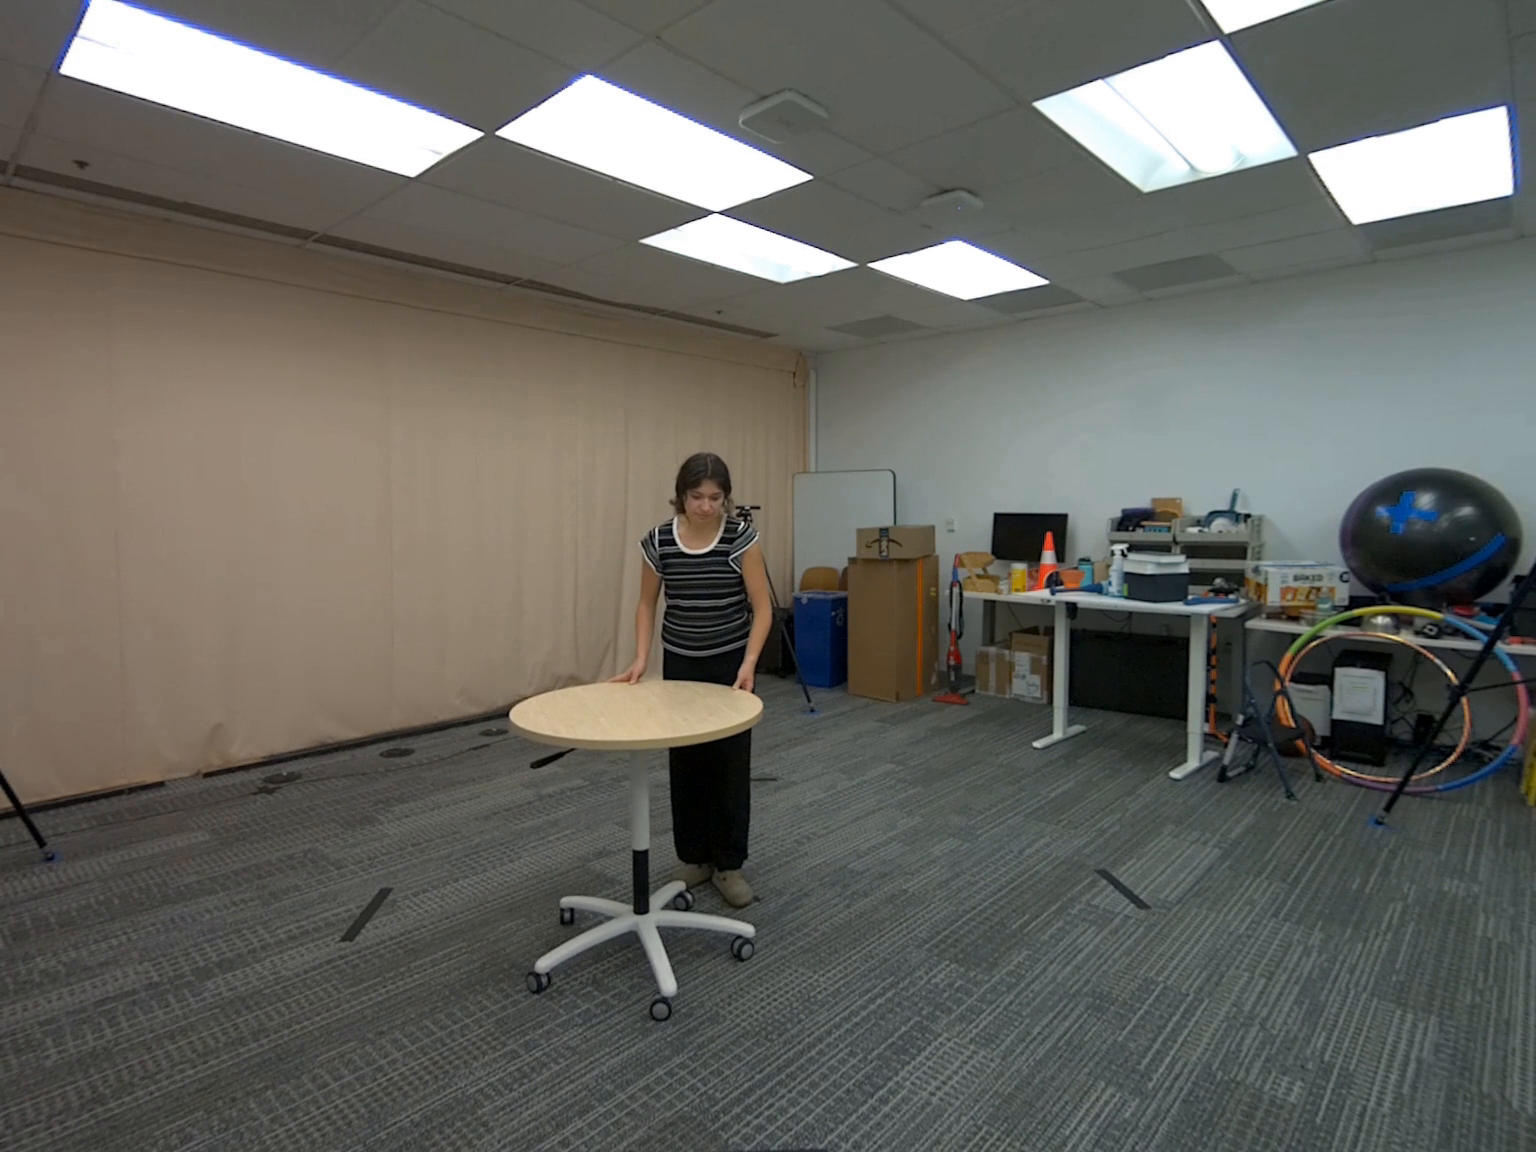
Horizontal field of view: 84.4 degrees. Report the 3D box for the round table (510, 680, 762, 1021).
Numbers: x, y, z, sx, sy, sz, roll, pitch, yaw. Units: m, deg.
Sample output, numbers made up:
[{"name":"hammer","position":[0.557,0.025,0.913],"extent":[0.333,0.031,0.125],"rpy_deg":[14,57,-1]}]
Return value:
[{"name":"round table","position":[-0.411,0.785,2.584],"extent":[0.784,0.785,0.787],"rpy_deg":[-1,3,-2]}]
